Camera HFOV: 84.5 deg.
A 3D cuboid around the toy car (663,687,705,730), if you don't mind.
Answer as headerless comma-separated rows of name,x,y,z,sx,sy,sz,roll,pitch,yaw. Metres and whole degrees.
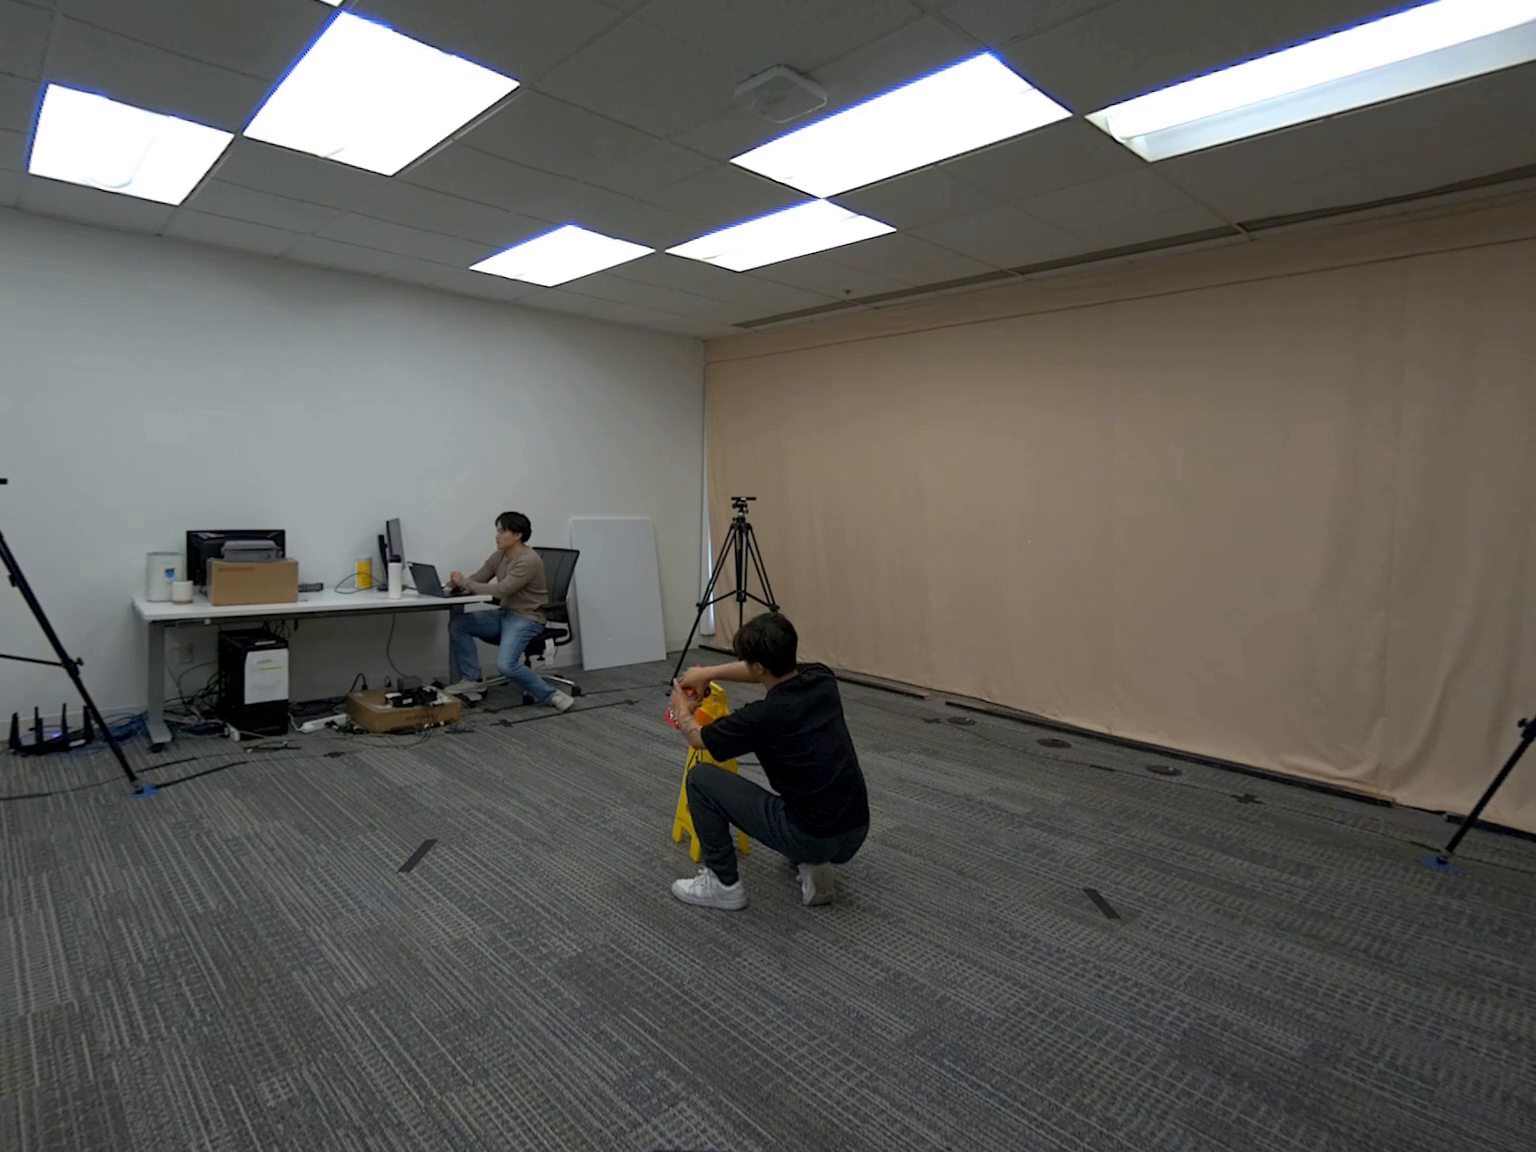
toy car,-0.304,0.479,3.273,0.134,0.255,0.080,24,-3,42
